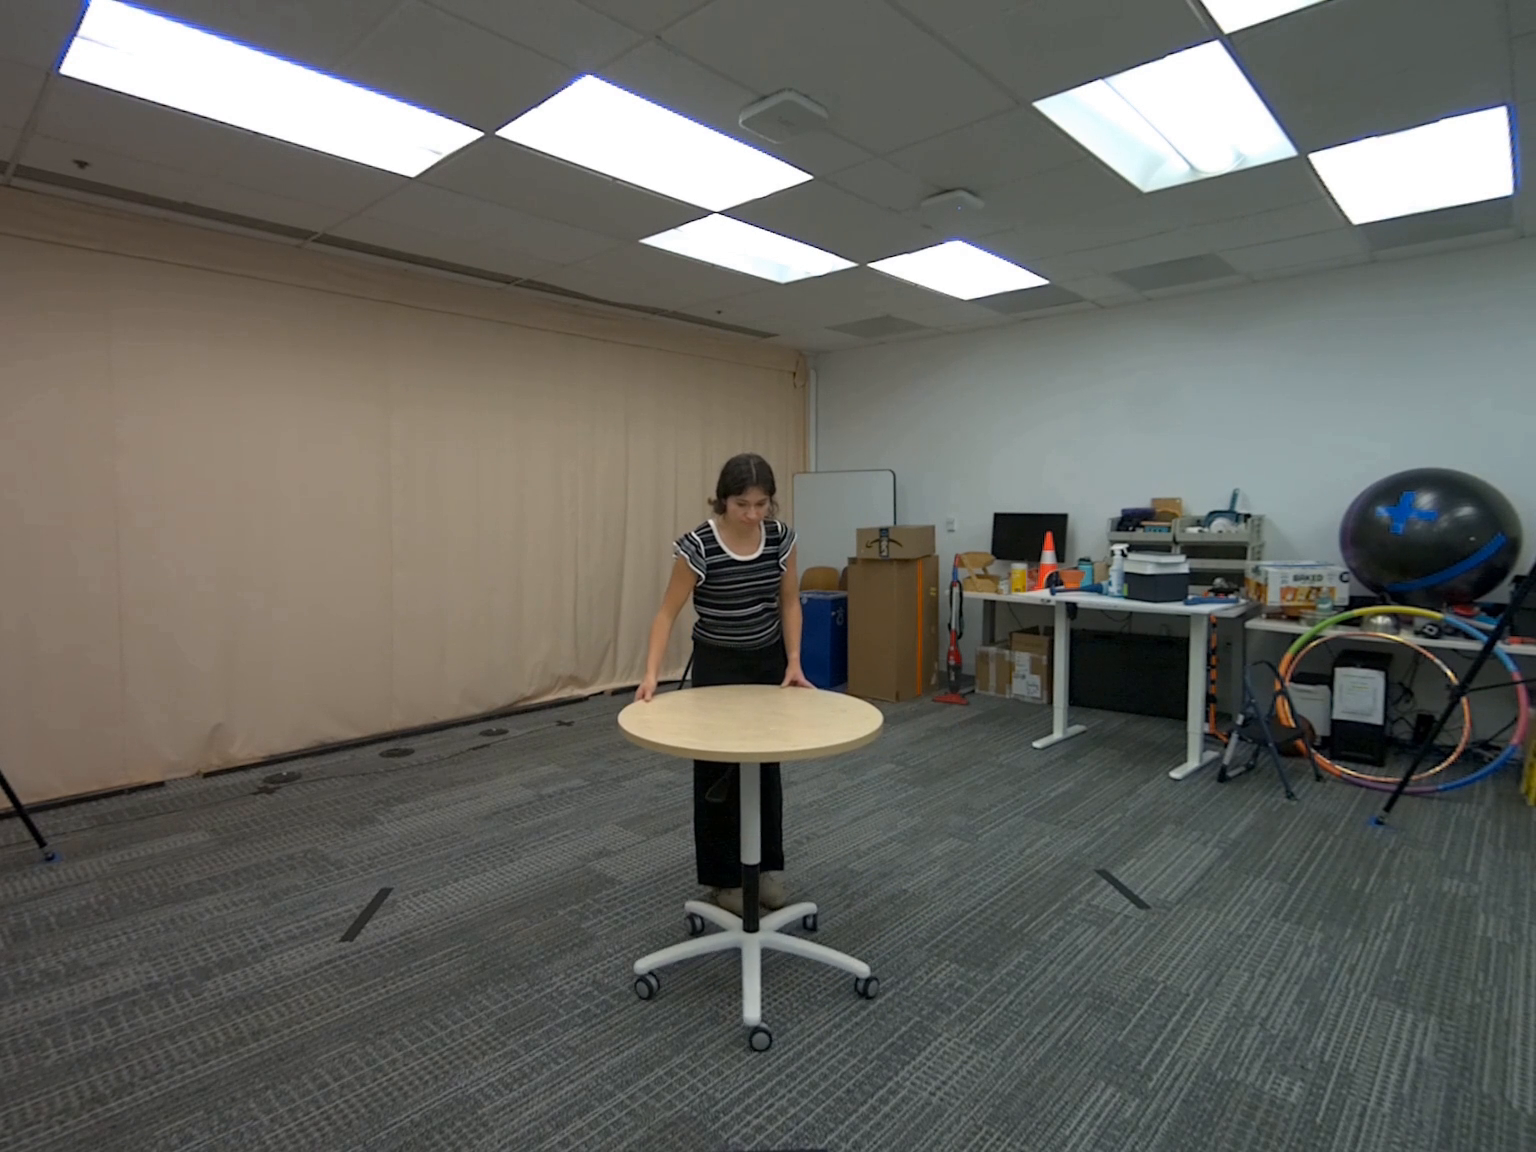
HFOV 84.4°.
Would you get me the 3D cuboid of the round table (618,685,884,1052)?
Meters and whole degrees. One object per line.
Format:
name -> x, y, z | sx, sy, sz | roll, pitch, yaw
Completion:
round table -> -0.050, 0.787, 2.492 | 0.784, 0.785, 0.788 | 0, 4, -2
